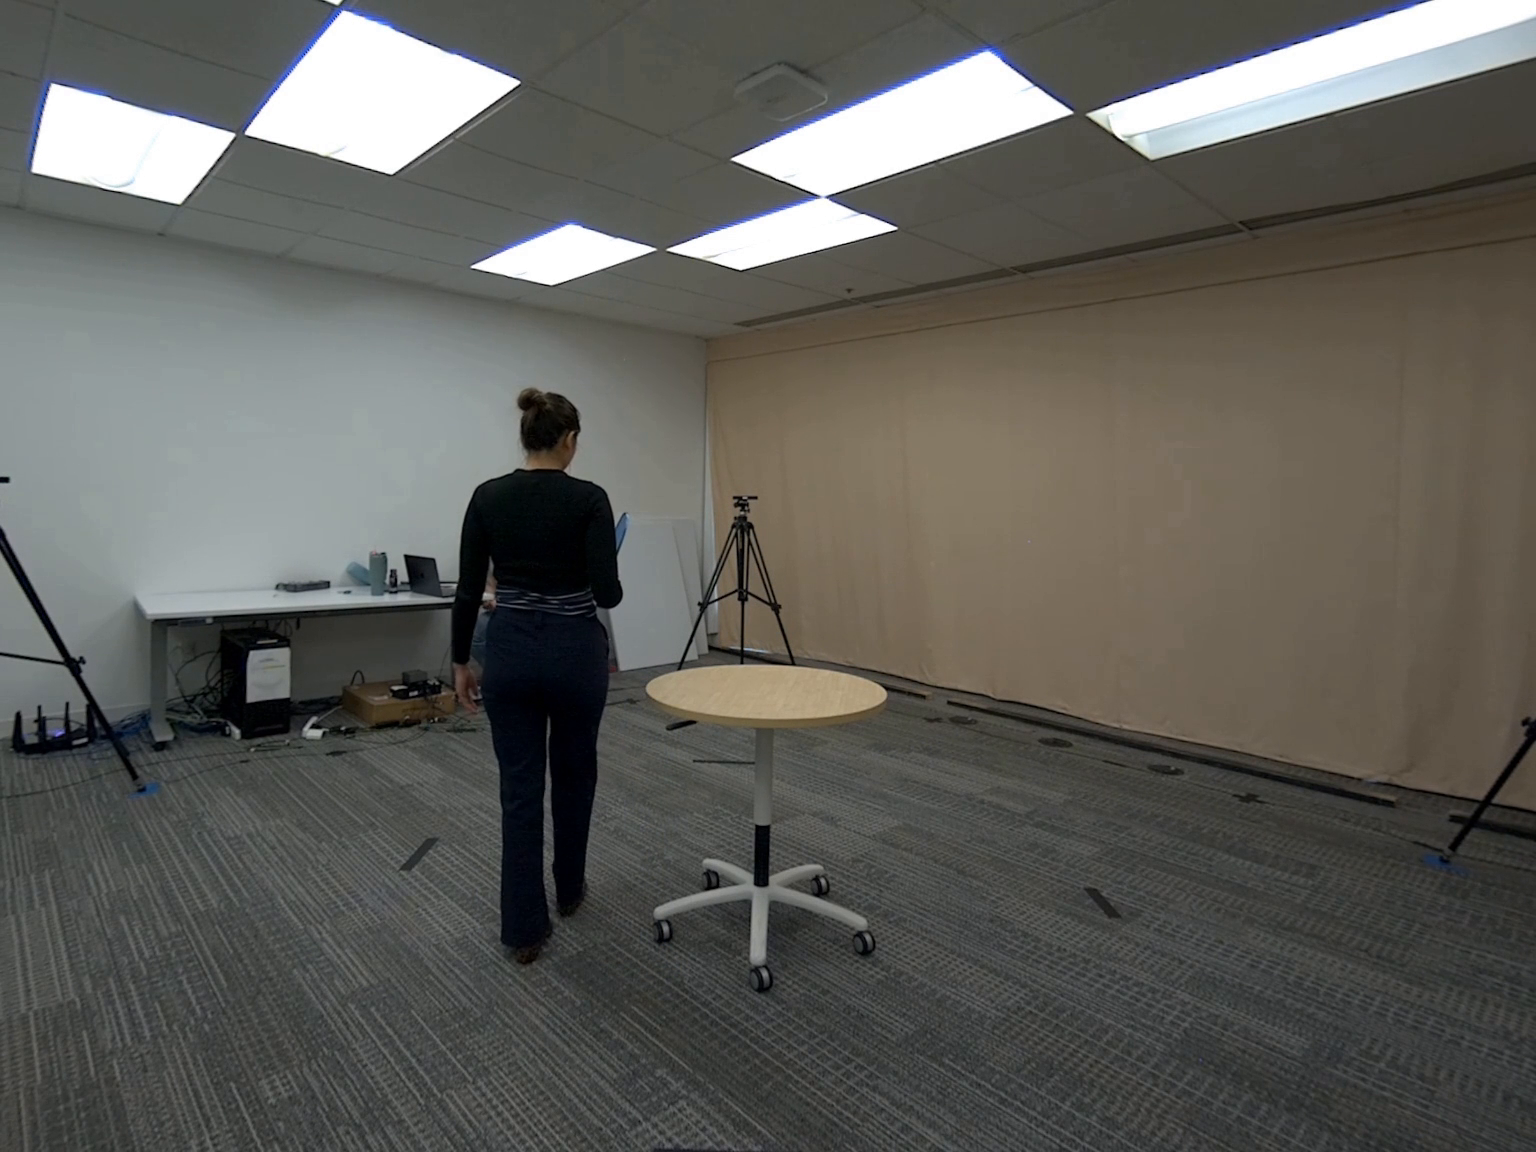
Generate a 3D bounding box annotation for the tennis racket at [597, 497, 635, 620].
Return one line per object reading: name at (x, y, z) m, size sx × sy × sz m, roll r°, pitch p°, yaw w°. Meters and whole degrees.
tennis racket at (-0.538, -0.059, 2.921) m, size 0.031 × 0.211 × 0.441 m, roll 16°, pitch 40°, yaw -11°
